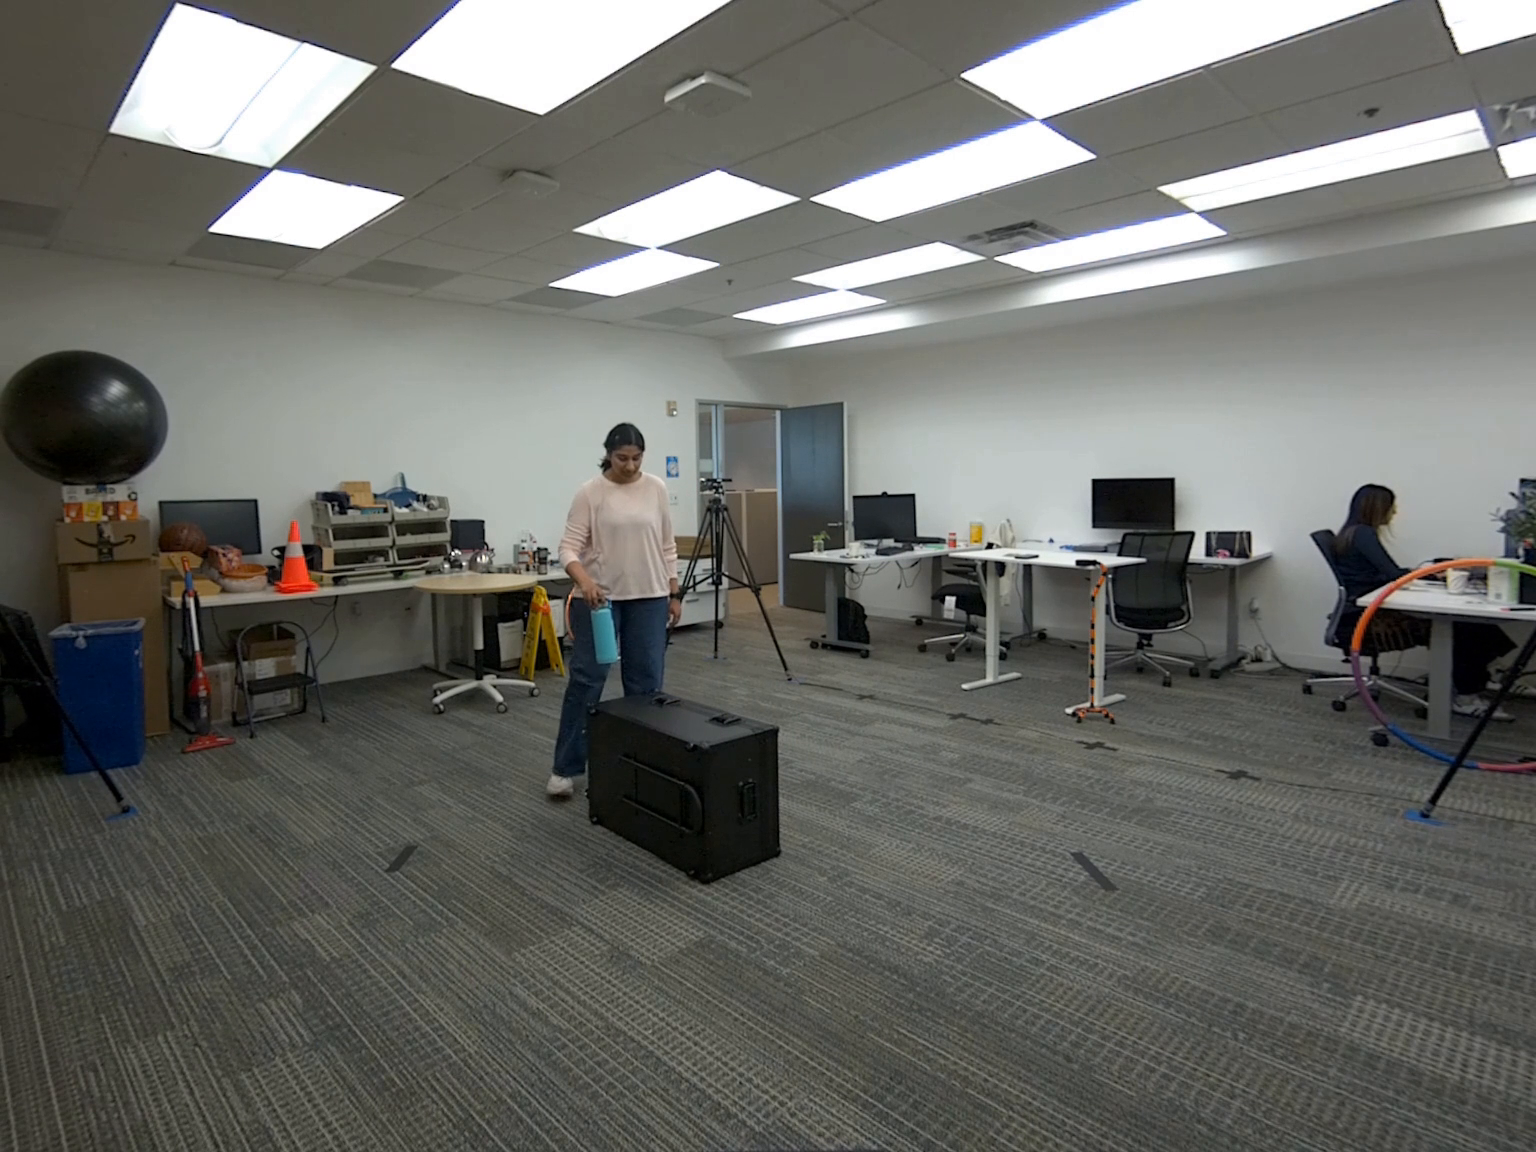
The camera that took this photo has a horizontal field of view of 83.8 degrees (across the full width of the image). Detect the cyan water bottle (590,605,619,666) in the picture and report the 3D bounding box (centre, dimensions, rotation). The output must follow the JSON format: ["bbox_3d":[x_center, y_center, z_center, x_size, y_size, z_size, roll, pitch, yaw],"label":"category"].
[{"bbox_3d":[-0.706,0.227,3.615,0.092,0.283,0.092,-6,1,-1],"label":"cyan water bottle"}]
